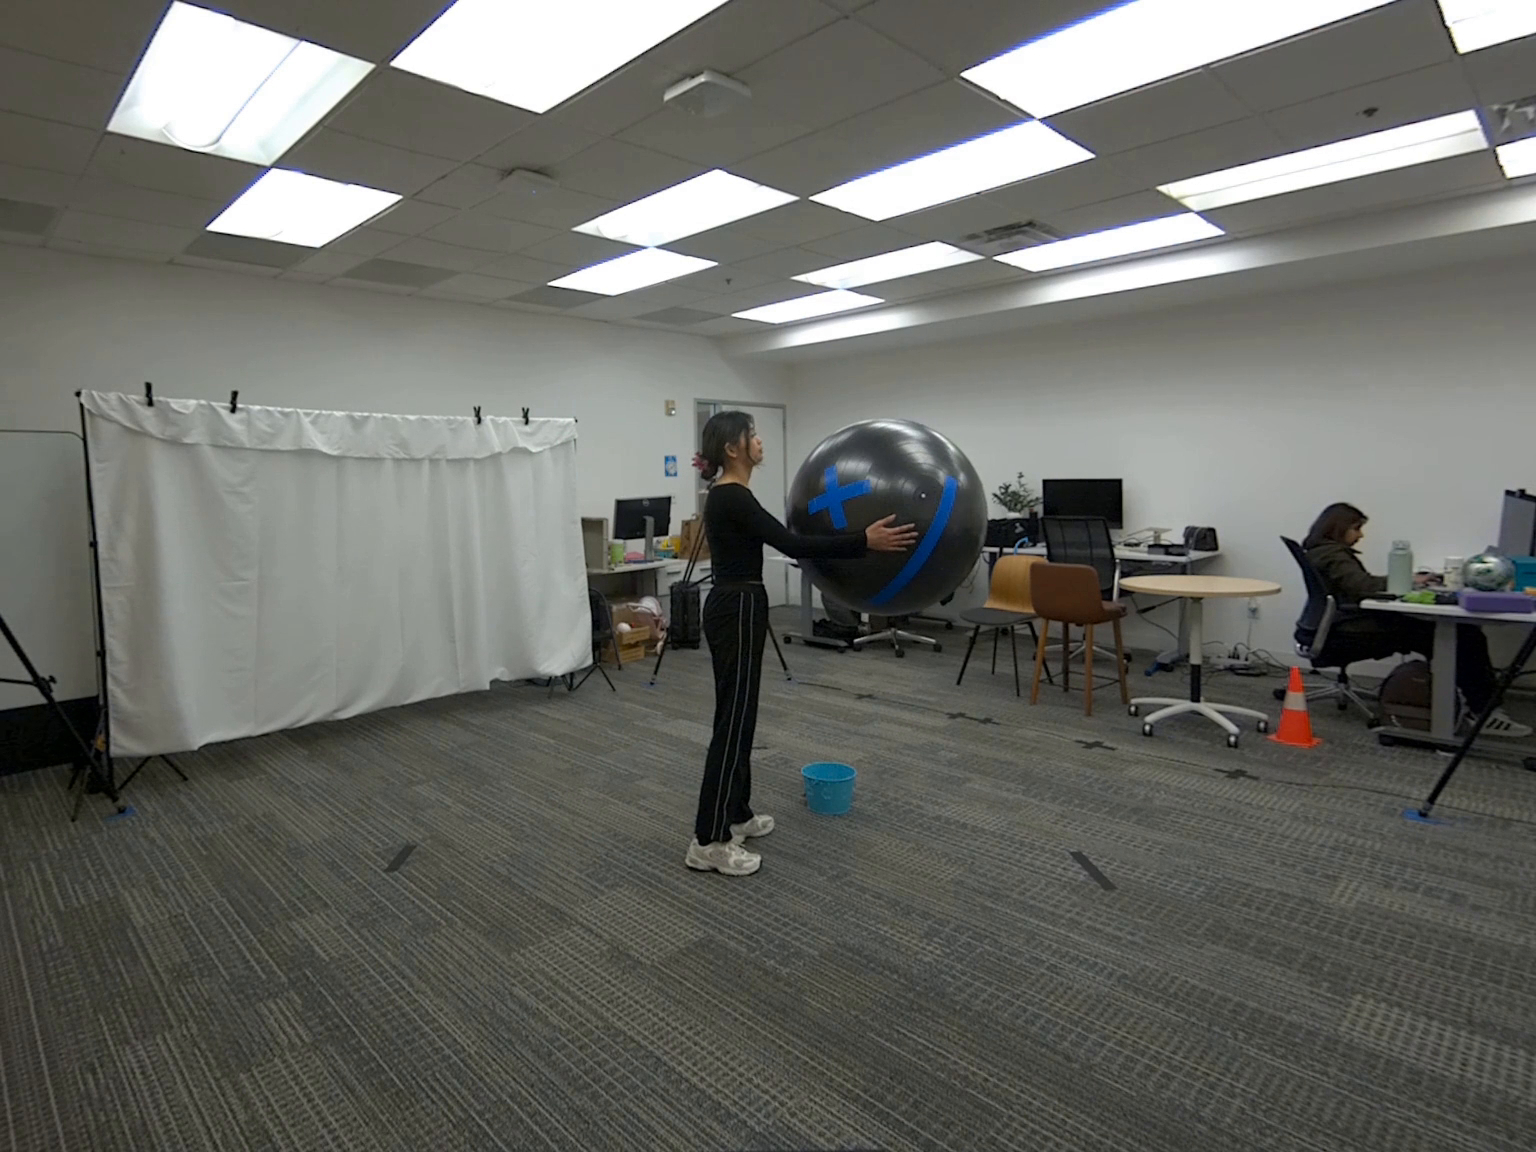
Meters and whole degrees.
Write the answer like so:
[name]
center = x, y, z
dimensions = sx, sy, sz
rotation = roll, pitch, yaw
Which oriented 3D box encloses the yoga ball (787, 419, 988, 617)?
[yoga ball]
center = 0.464, -0.218, 3.297
dimensions = 0.757, 0.755, 0.762
rotation = -1, 5, -2
